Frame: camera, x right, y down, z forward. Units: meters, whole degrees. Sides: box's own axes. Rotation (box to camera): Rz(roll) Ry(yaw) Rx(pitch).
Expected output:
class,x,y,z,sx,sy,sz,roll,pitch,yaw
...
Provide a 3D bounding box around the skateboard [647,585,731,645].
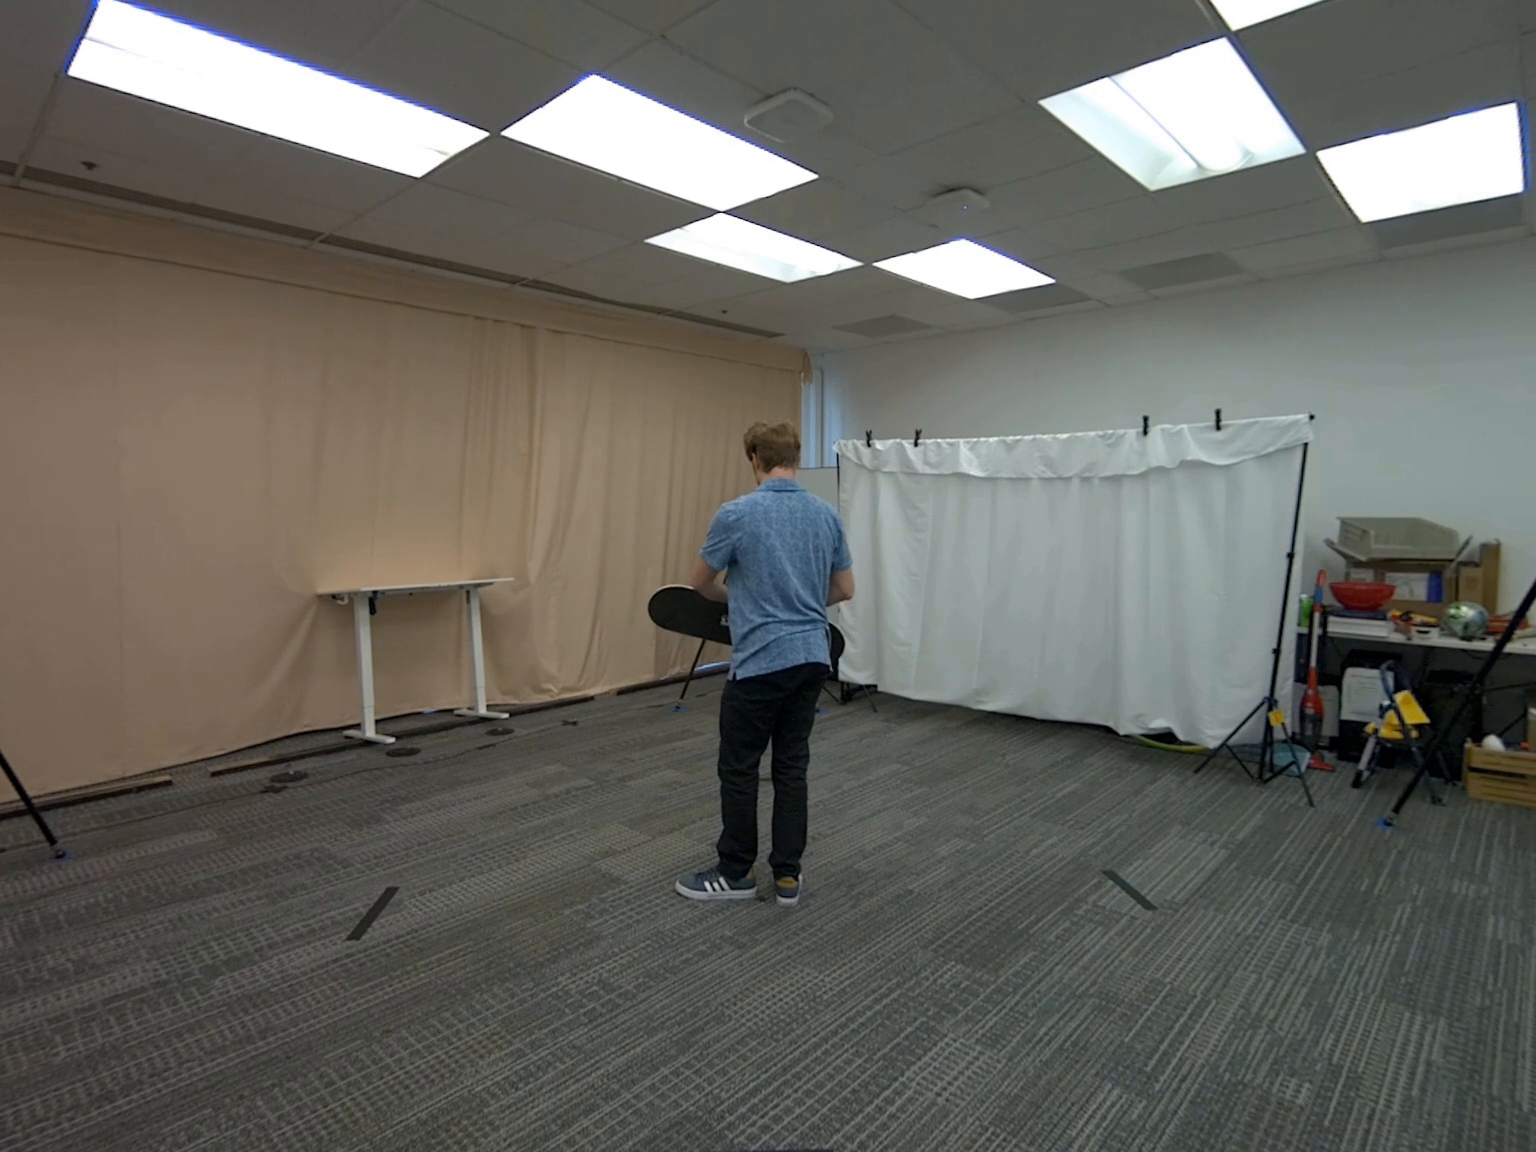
class,x,y,z,sx,sy,sz,roll,pitch,yaw
skateboard,-0.095,0.185,3.345,0.786,0.192,0.110,13,12,1
